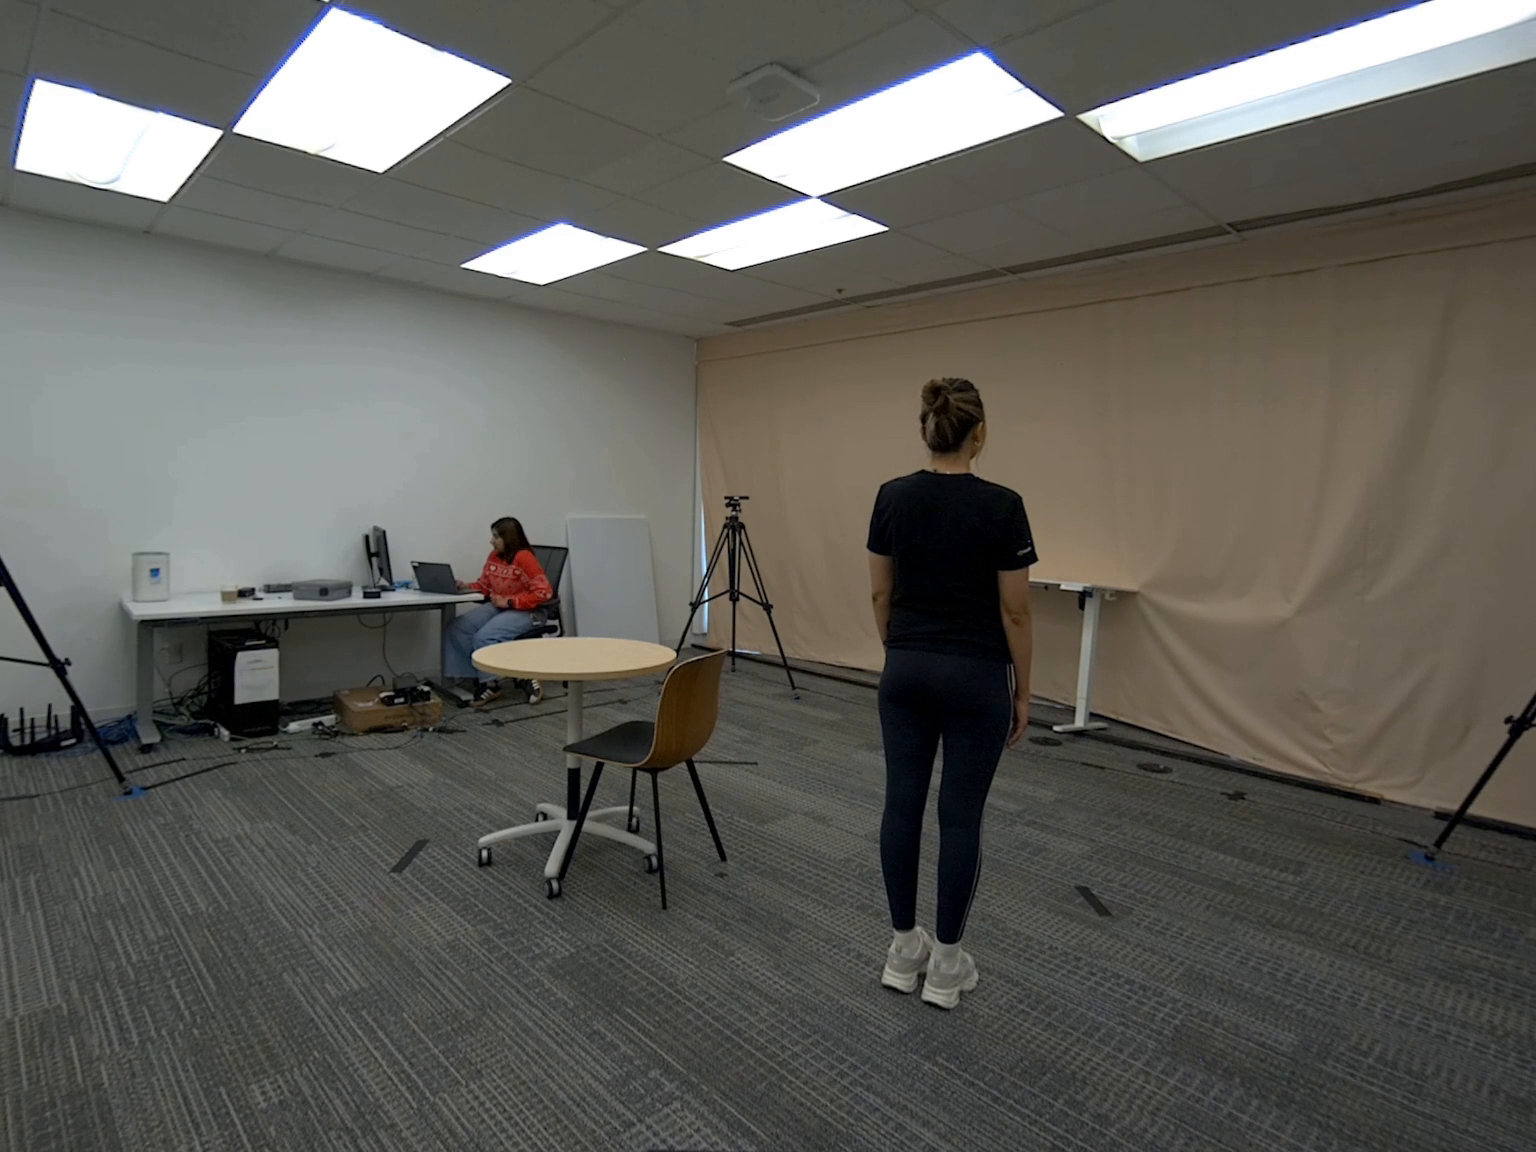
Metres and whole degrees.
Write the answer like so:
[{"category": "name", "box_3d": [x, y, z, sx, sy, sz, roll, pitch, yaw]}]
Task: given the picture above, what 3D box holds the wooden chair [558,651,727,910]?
[{"category": "wooden chair", "box_3d": [-0.454, 0.669, 3.096, 0.534, 0.874, 0.470, 8, 6, 26]}]
